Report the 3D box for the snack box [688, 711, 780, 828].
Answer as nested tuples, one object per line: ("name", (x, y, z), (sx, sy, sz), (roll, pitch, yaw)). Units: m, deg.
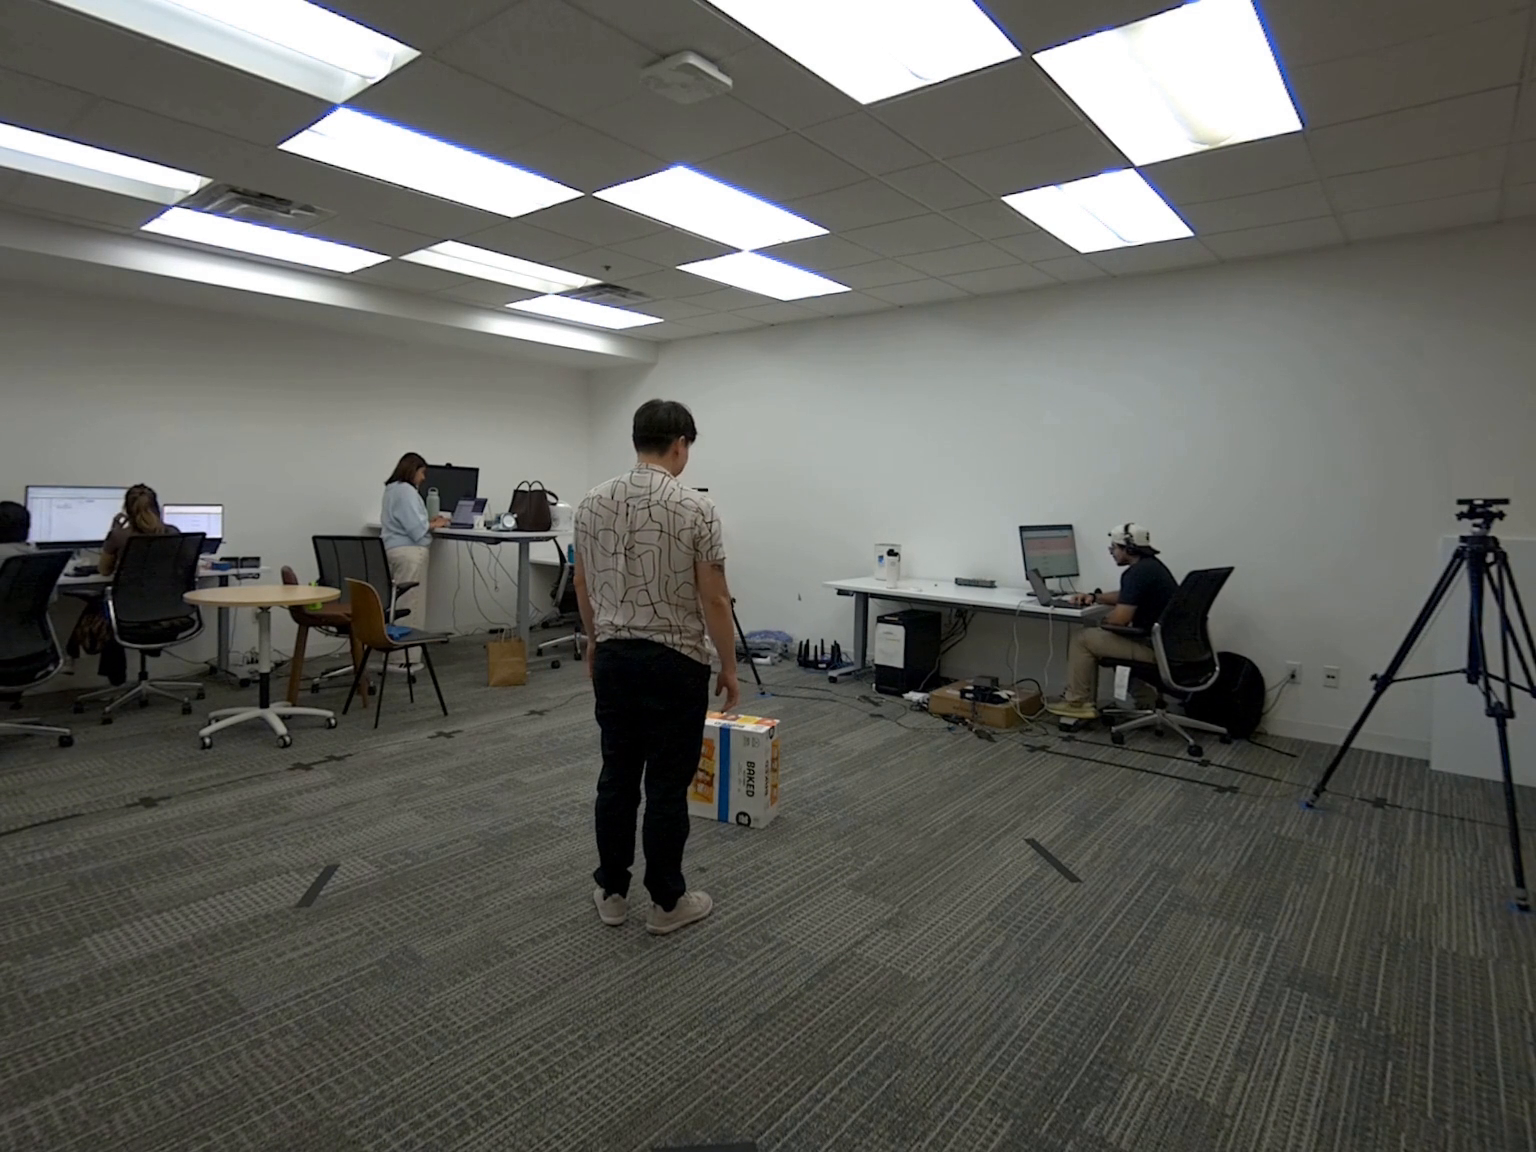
("snack box", (-0.151, 0.814, 3.635), (0.349, 0.404, 0.201), (3, 4, 24))
